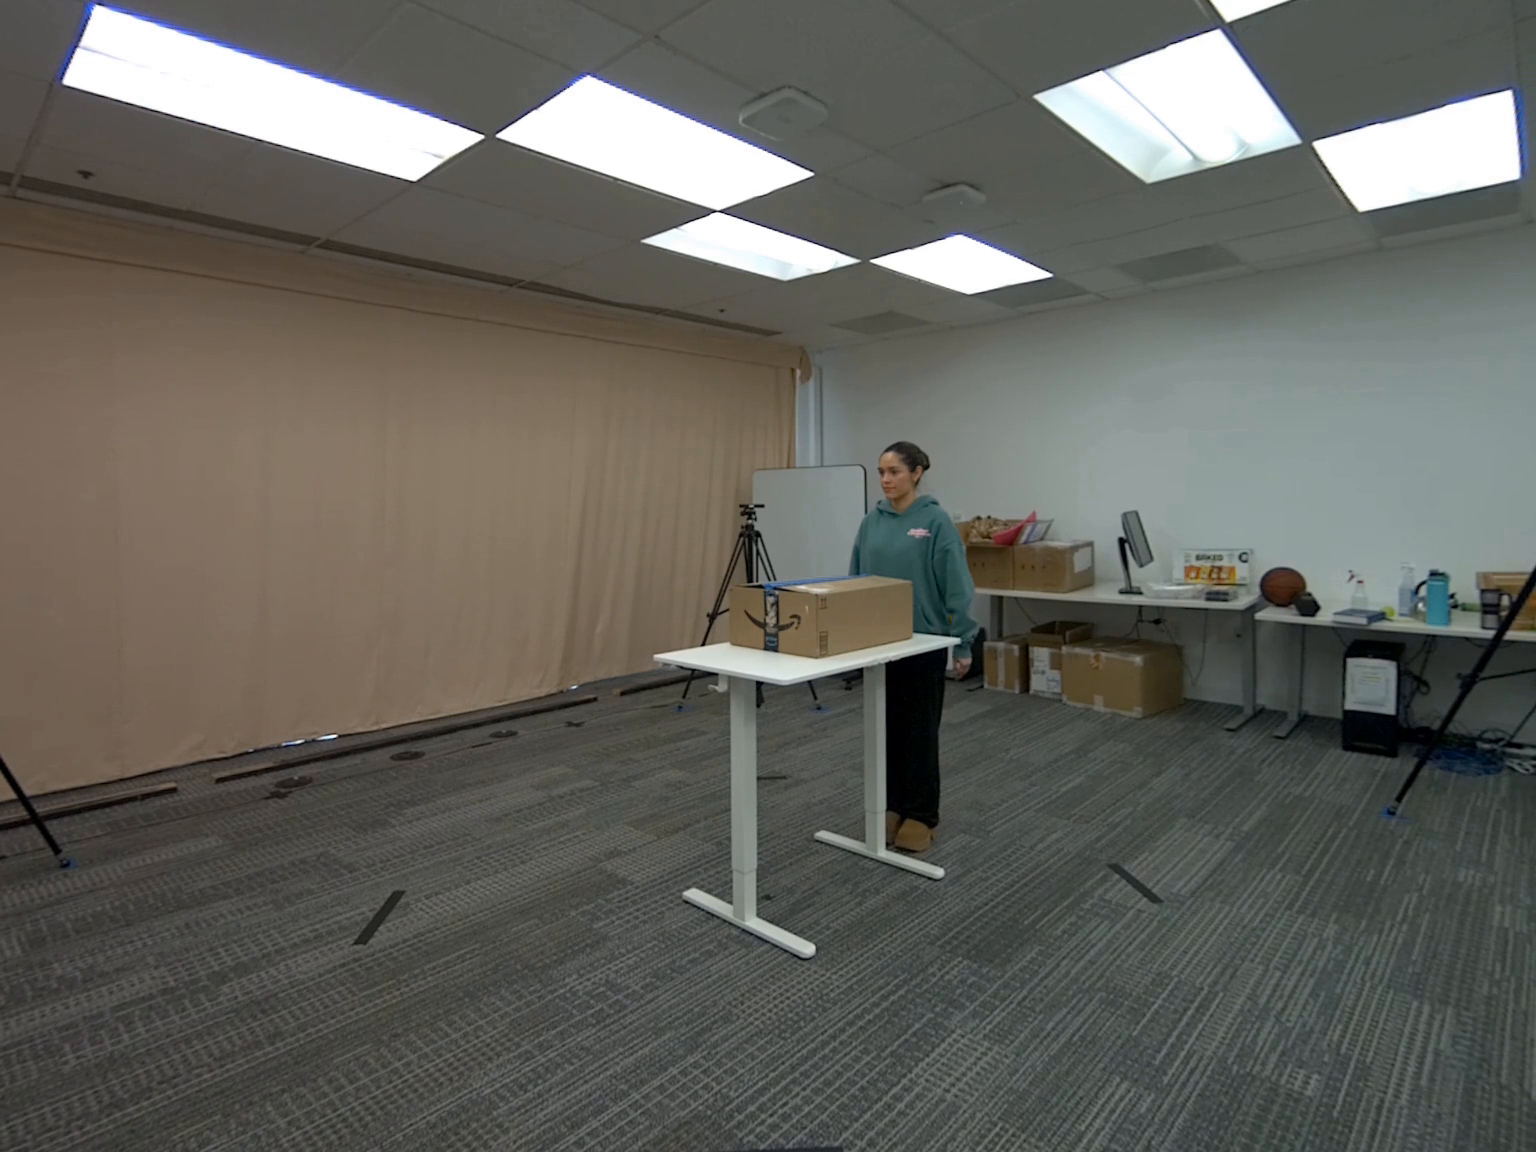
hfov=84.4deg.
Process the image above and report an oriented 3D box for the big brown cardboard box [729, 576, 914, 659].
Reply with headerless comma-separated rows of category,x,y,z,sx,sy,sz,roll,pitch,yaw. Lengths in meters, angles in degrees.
big brown cardboard box,0.199,0.135,3.097,0.431,0.232,0.571,4,6,44
